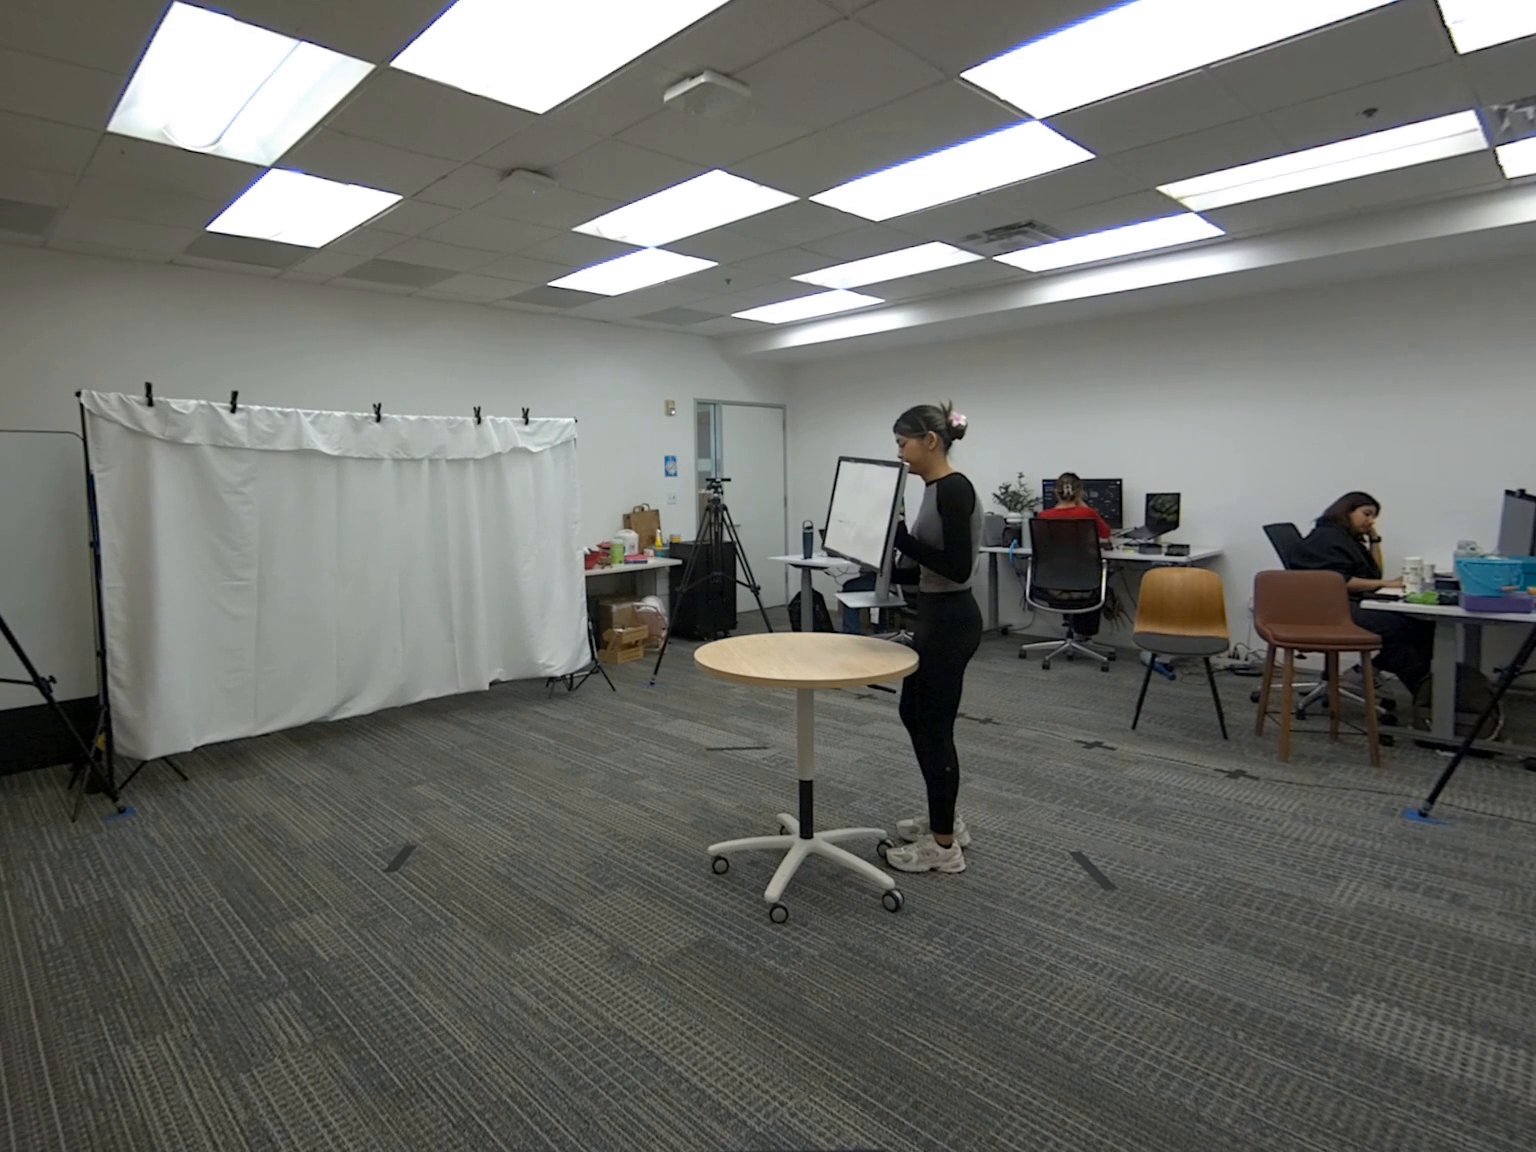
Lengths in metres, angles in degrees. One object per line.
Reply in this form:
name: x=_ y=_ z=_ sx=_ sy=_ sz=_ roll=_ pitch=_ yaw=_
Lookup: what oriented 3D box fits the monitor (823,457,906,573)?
monitor: x=0.367 y=-0.151 z=3.006 sx=0.184 sy=0.519 sz=0.551 roll=-3 pitch=9 yaw=-18
